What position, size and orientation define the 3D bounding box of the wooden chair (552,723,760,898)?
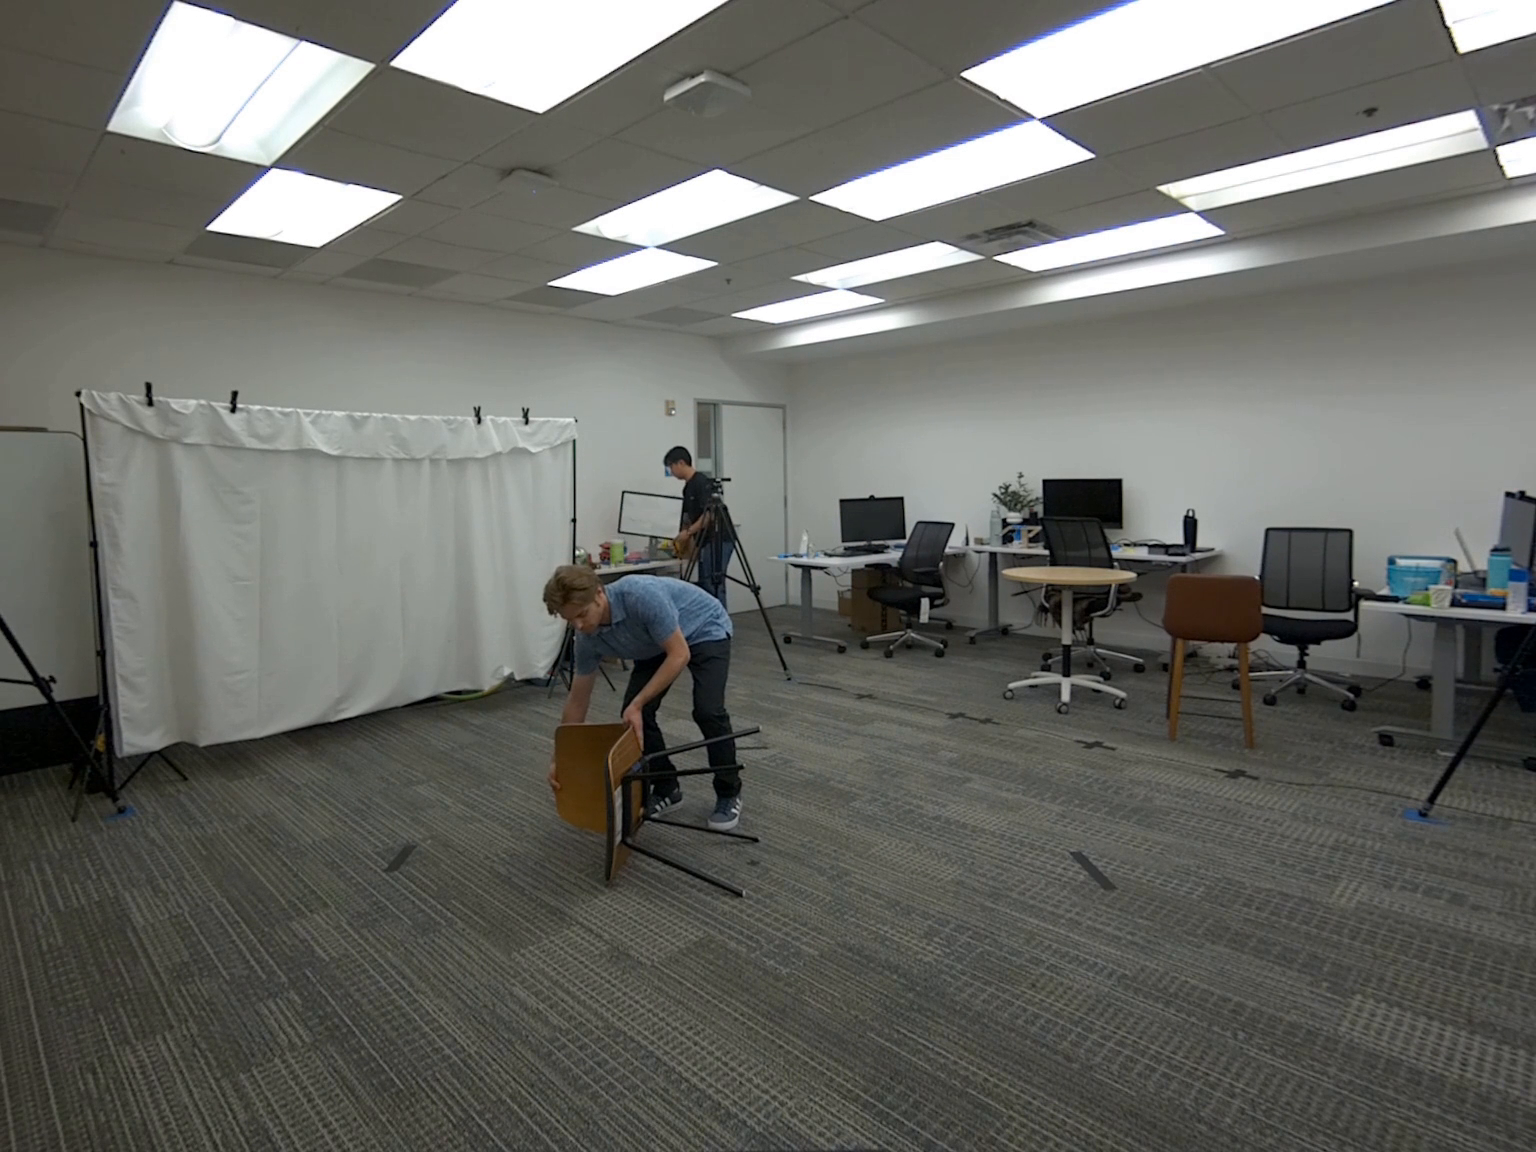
[{"bbox_3d":[-0.479,0.817,3.120,0.888,0.476,0.519,1,6,12],"label":"wooden chair"}]
